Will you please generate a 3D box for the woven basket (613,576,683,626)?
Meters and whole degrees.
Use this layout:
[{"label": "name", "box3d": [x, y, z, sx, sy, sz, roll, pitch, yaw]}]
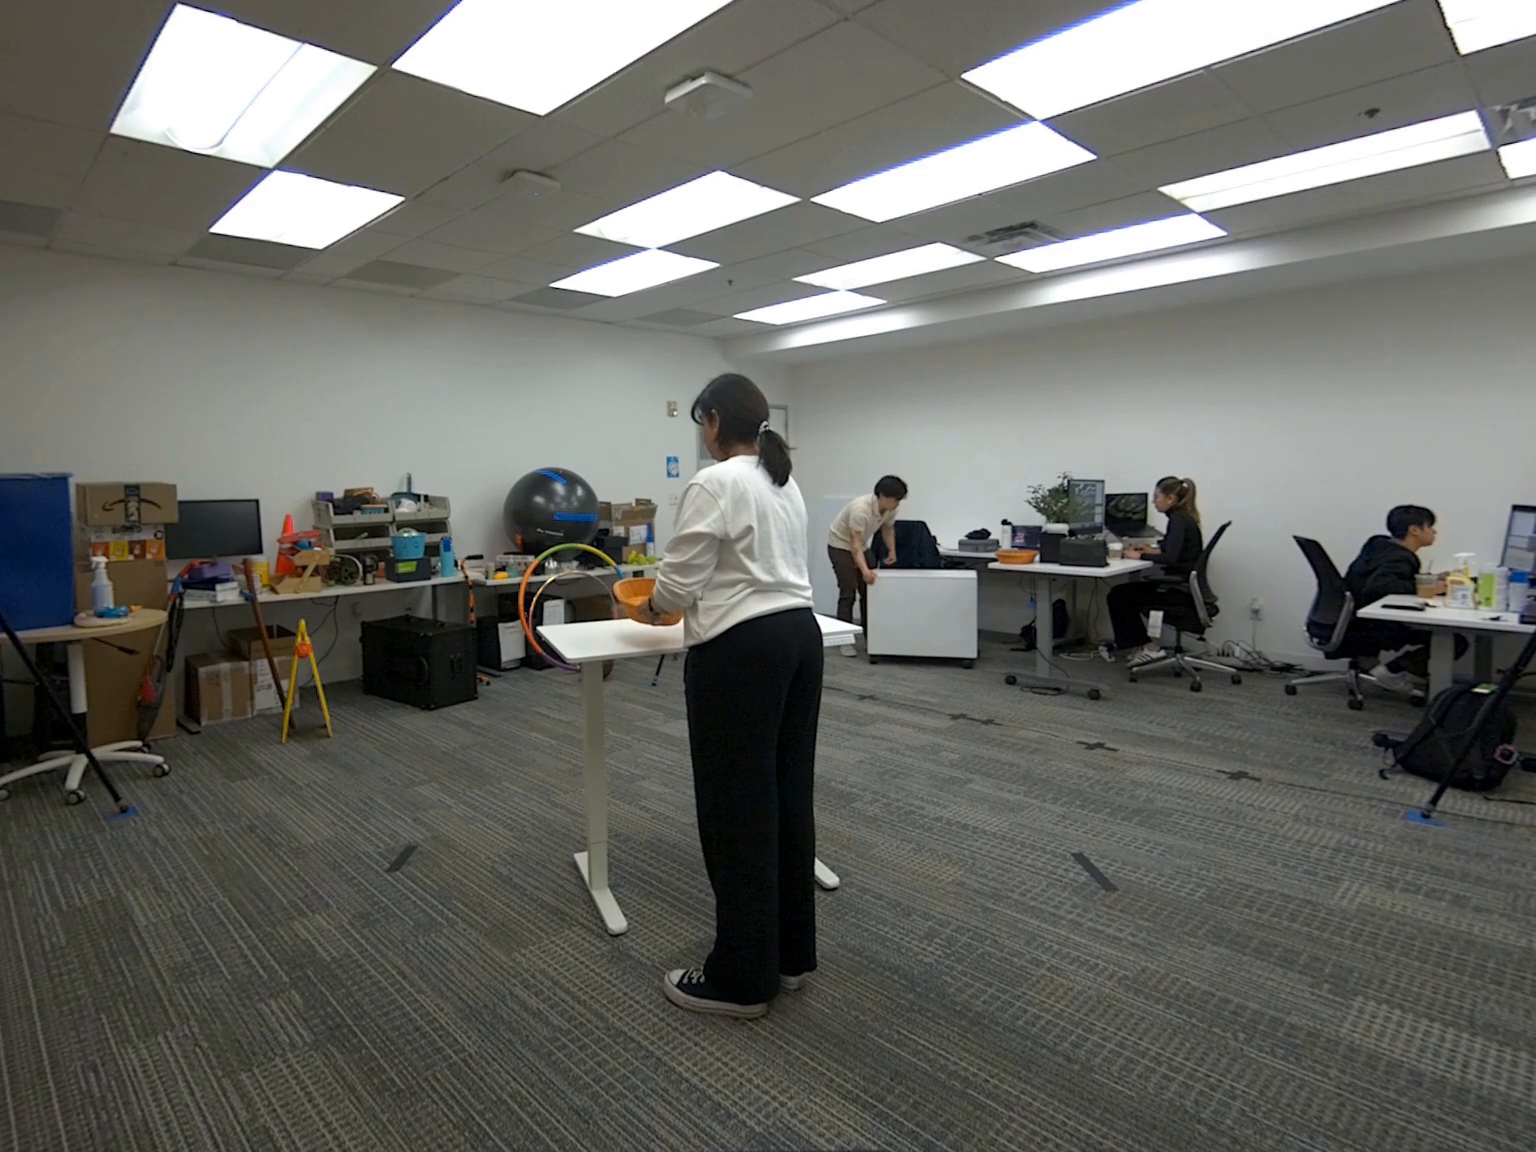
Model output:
[{"label": "woven basket", "box3d": [-0.358, 0.090, 2.759, 0.250, 0.073, 0.357, 5, 13, -10]}]
